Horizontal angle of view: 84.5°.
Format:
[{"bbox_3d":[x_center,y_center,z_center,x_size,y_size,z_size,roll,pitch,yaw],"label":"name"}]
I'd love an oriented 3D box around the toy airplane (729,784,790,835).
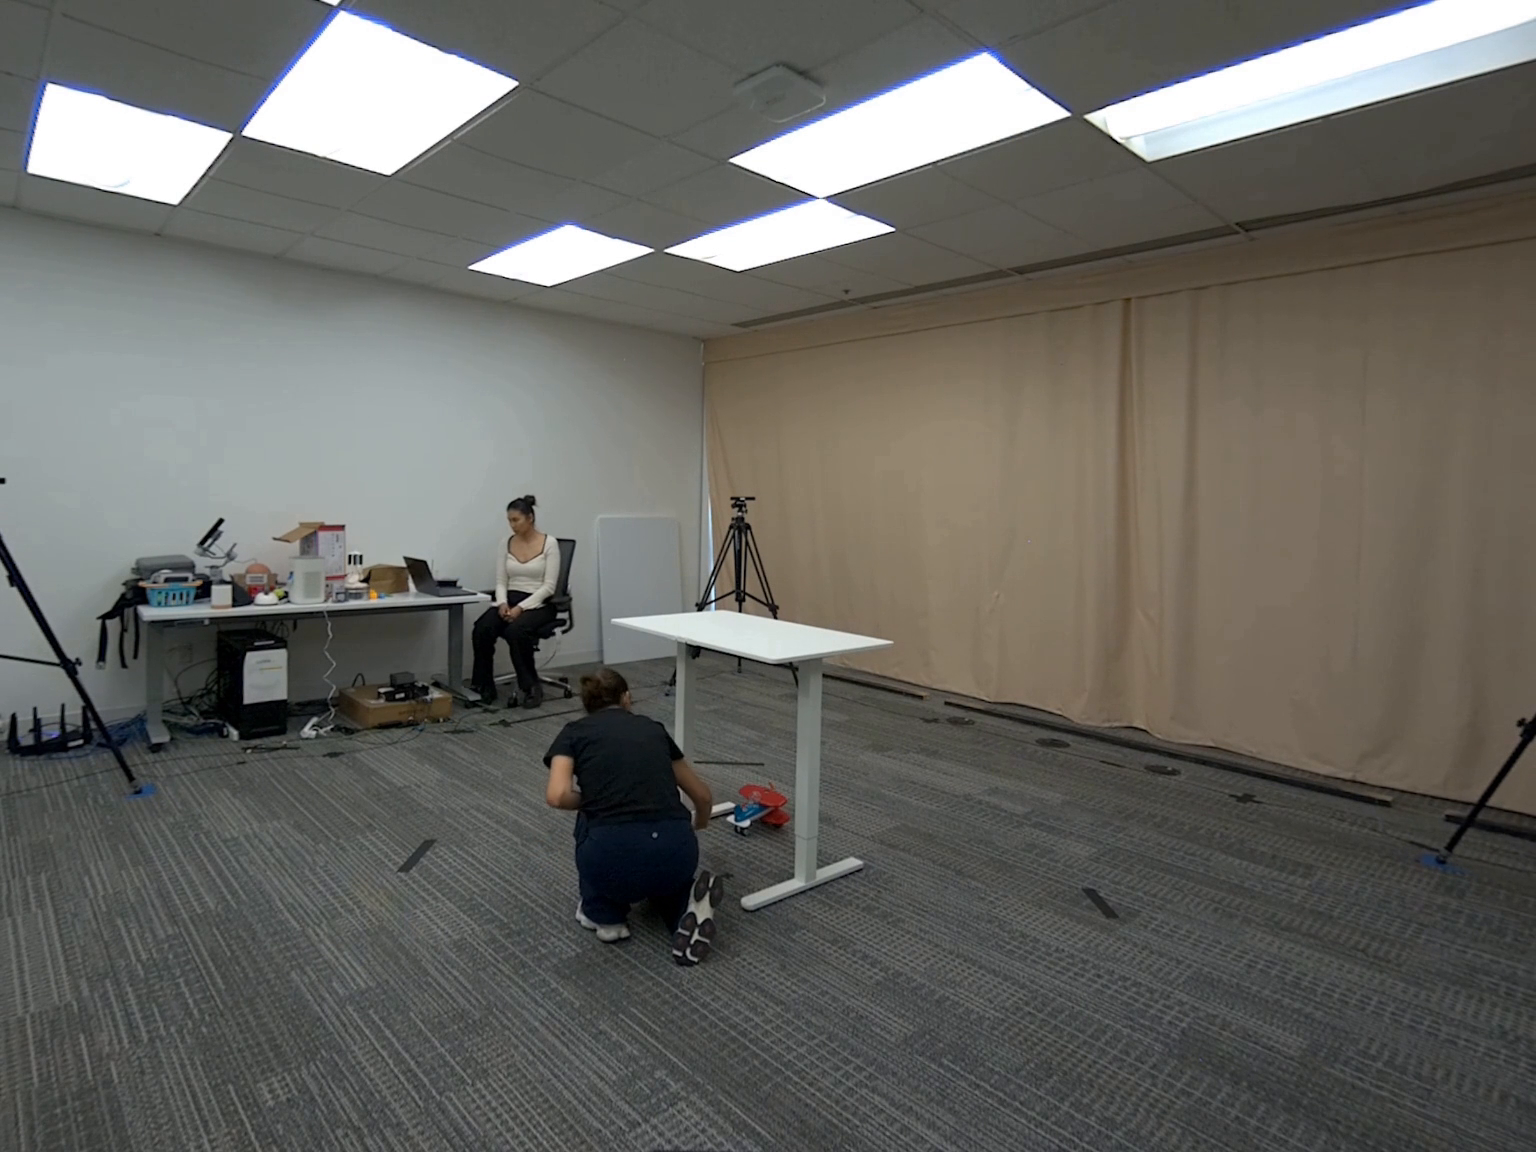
[{"bbox_3d":[-0.041,1.000,3.536,0.255,0.156,0.256,2,2,17],"label":"toy airplane"}]
